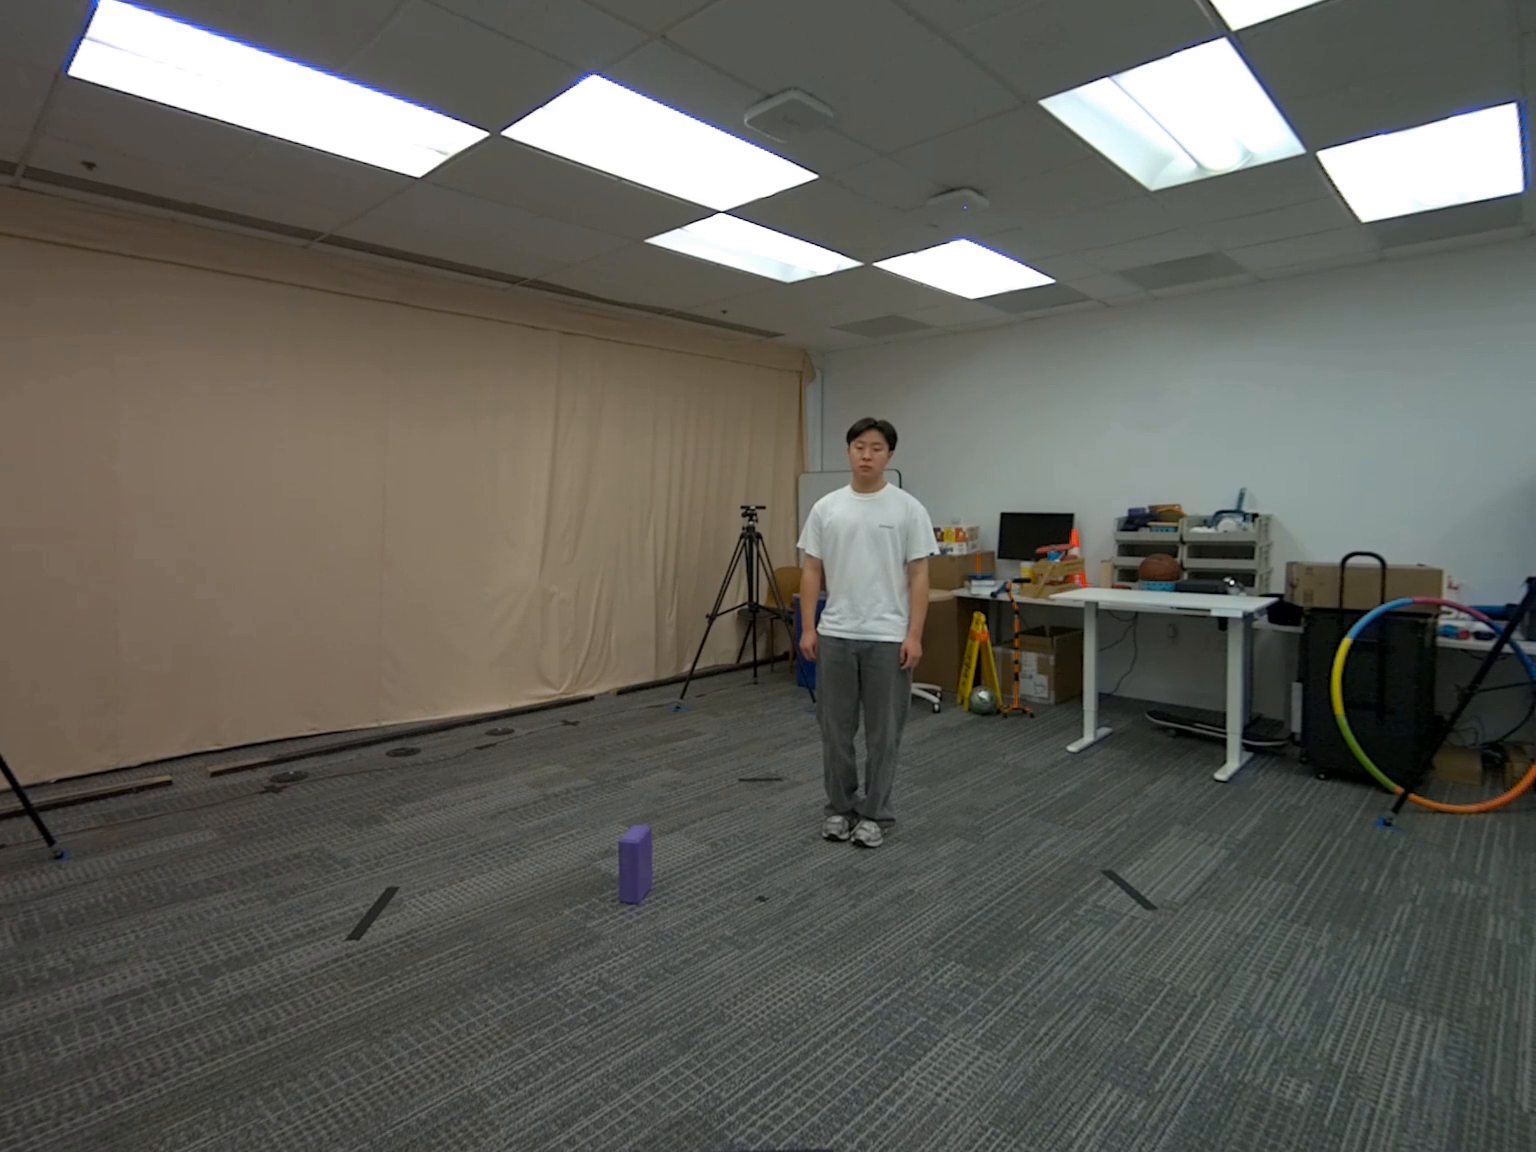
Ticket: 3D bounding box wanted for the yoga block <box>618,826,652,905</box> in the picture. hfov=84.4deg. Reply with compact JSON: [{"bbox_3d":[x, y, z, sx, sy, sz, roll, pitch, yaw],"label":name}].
[{"bbox_3d":[-0.469,1.031,3.007,0.077,0.229,0.147,0,3,13],"label":"yoga block"}]
